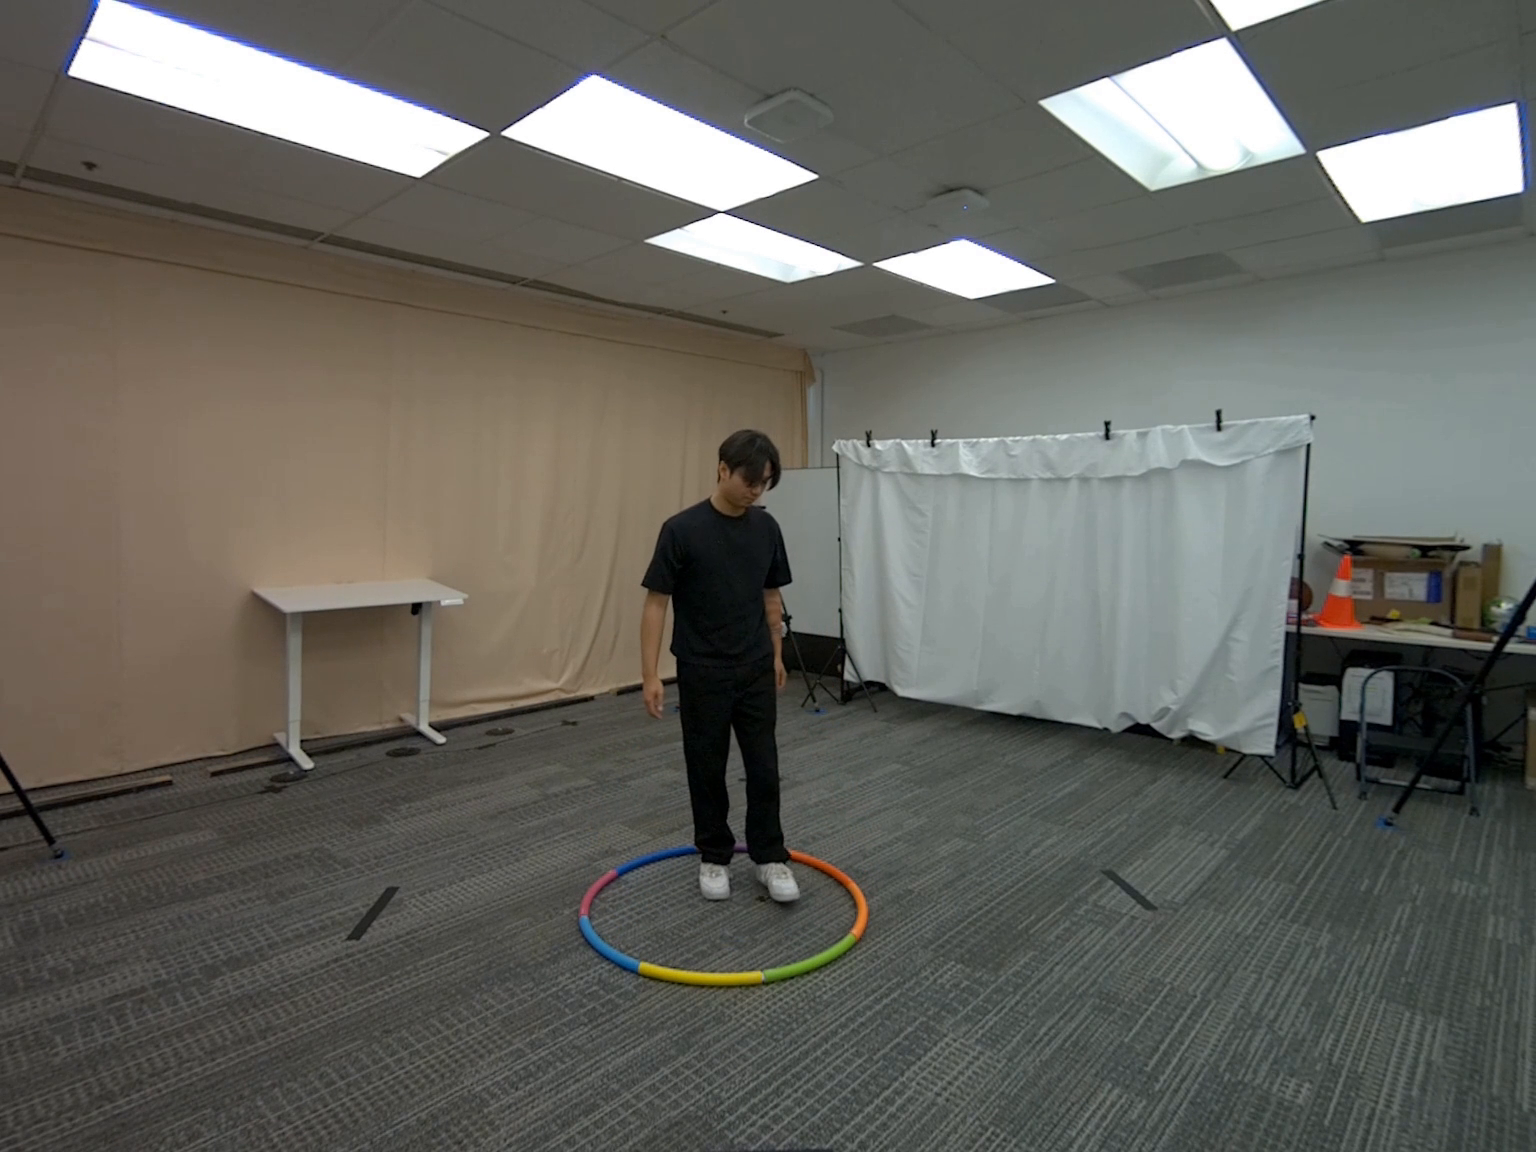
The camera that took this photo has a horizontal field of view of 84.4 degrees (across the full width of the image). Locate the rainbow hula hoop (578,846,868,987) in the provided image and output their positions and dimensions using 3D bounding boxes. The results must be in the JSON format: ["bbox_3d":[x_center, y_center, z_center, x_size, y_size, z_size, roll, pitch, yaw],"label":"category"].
[{"bbox_3d":[-0.150,1.120,2.919,0.978,0.035,0.982,0,5,-2],"label":"rainbow hula hoop"}]
